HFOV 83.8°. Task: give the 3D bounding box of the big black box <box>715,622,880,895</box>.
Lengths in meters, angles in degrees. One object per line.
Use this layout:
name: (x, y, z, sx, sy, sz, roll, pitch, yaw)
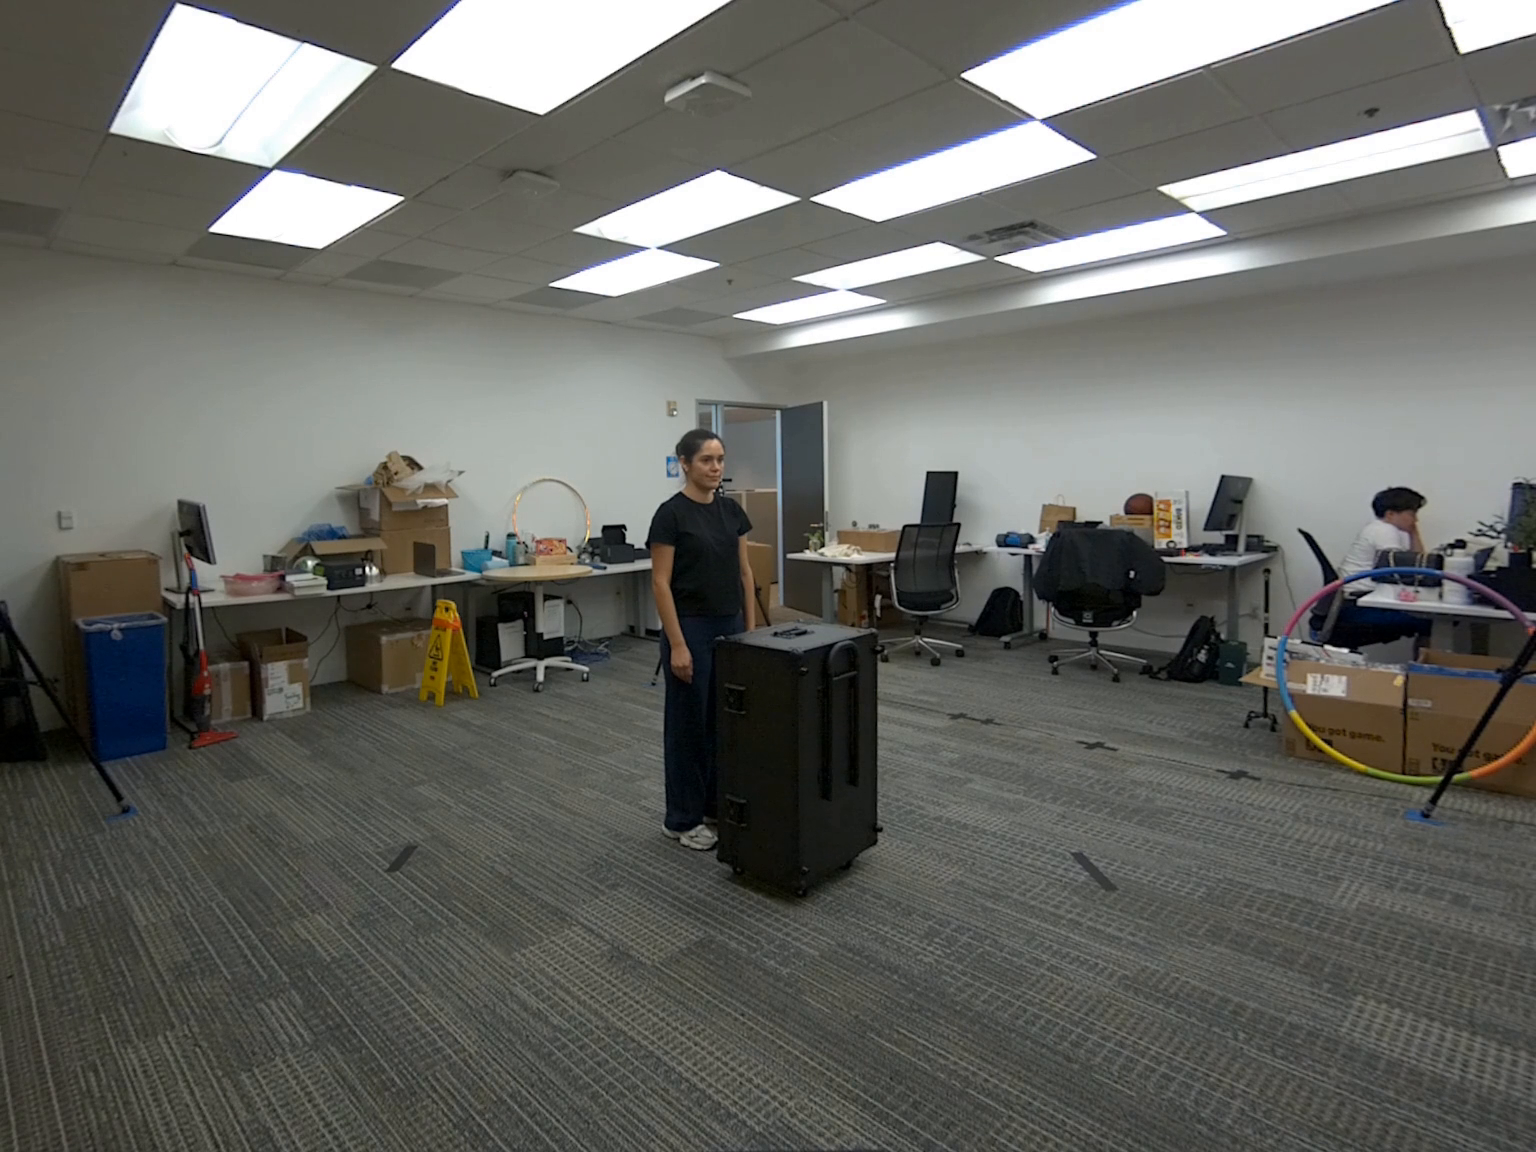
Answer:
big black box: (0.120, 0.628, 3.017, 0.408, 0.858, 0.507, 4, 6, 40)
